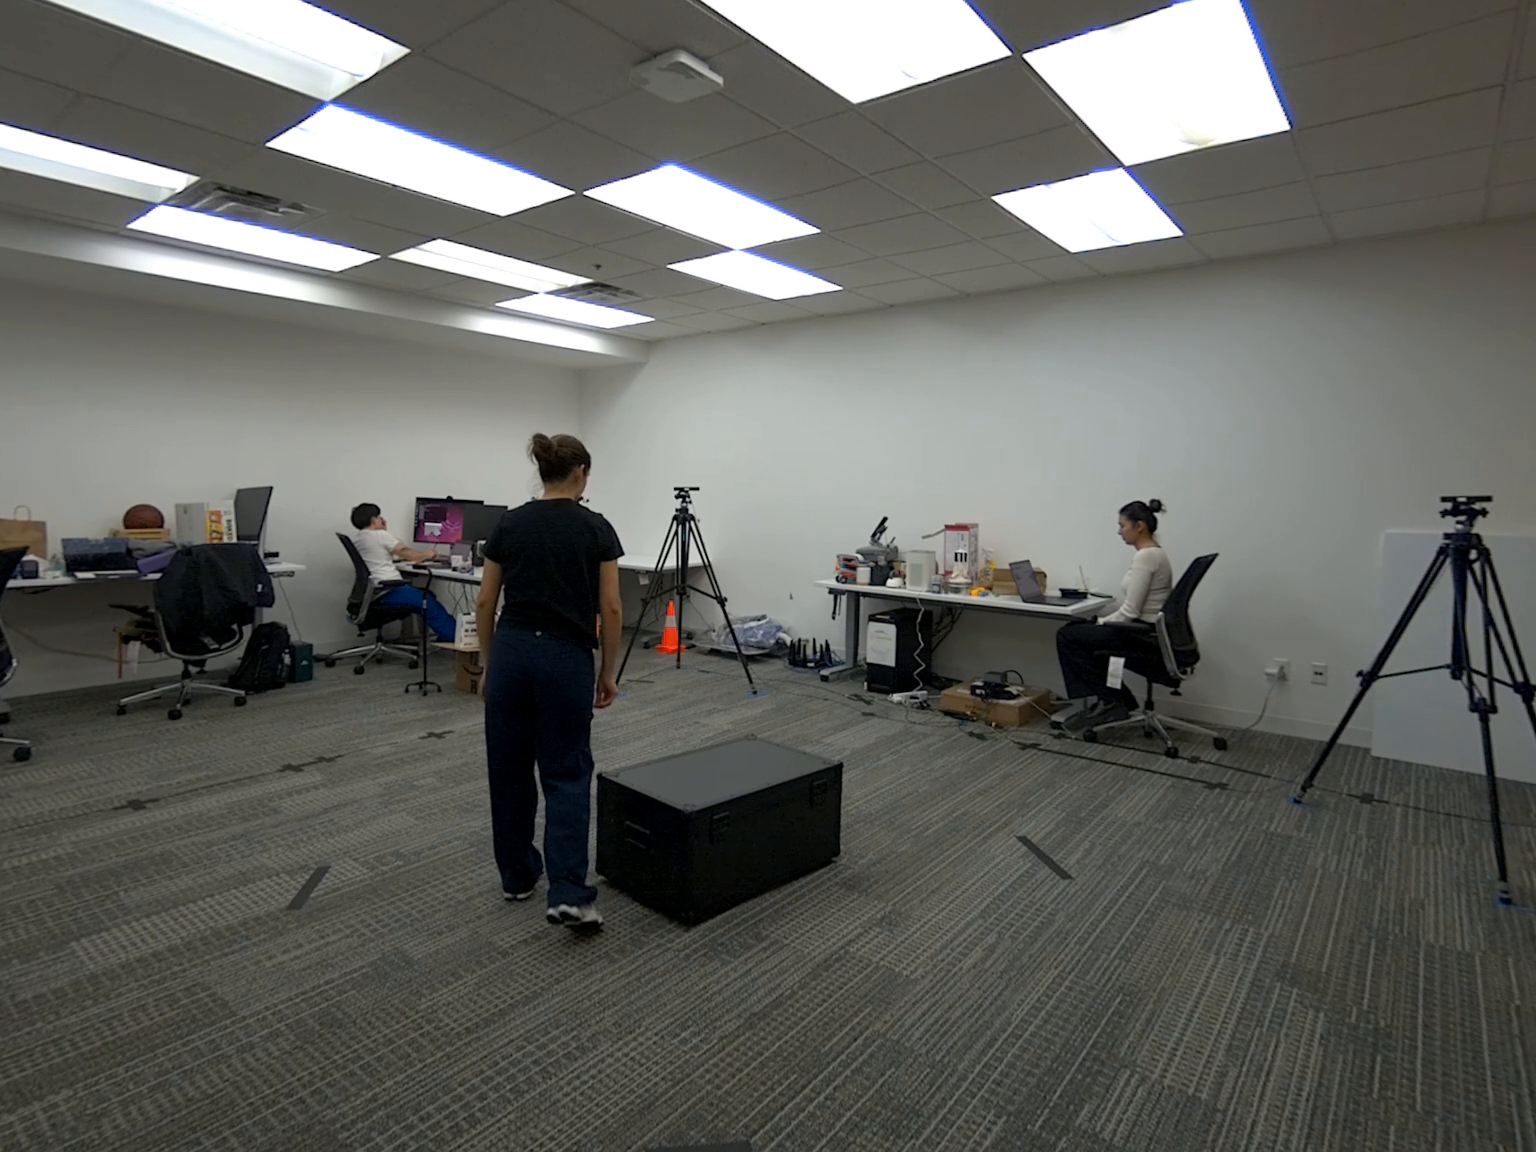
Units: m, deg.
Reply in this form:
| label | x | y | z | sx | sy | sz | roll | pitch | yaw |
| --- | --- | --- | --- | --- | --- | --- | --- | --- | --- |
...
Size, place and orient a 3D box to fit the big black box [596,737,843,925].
| label | x | y | z | sx | sy | sz | roll | pitch | yaw |
| --- | --- | --- | --- | --- | --- | --- | --- | --- | --- |
| big black box | -0.169 | 0.880 | 3.082 | 0.835 | 0.395 | 0.539 | -4 | 6 | -44 |
